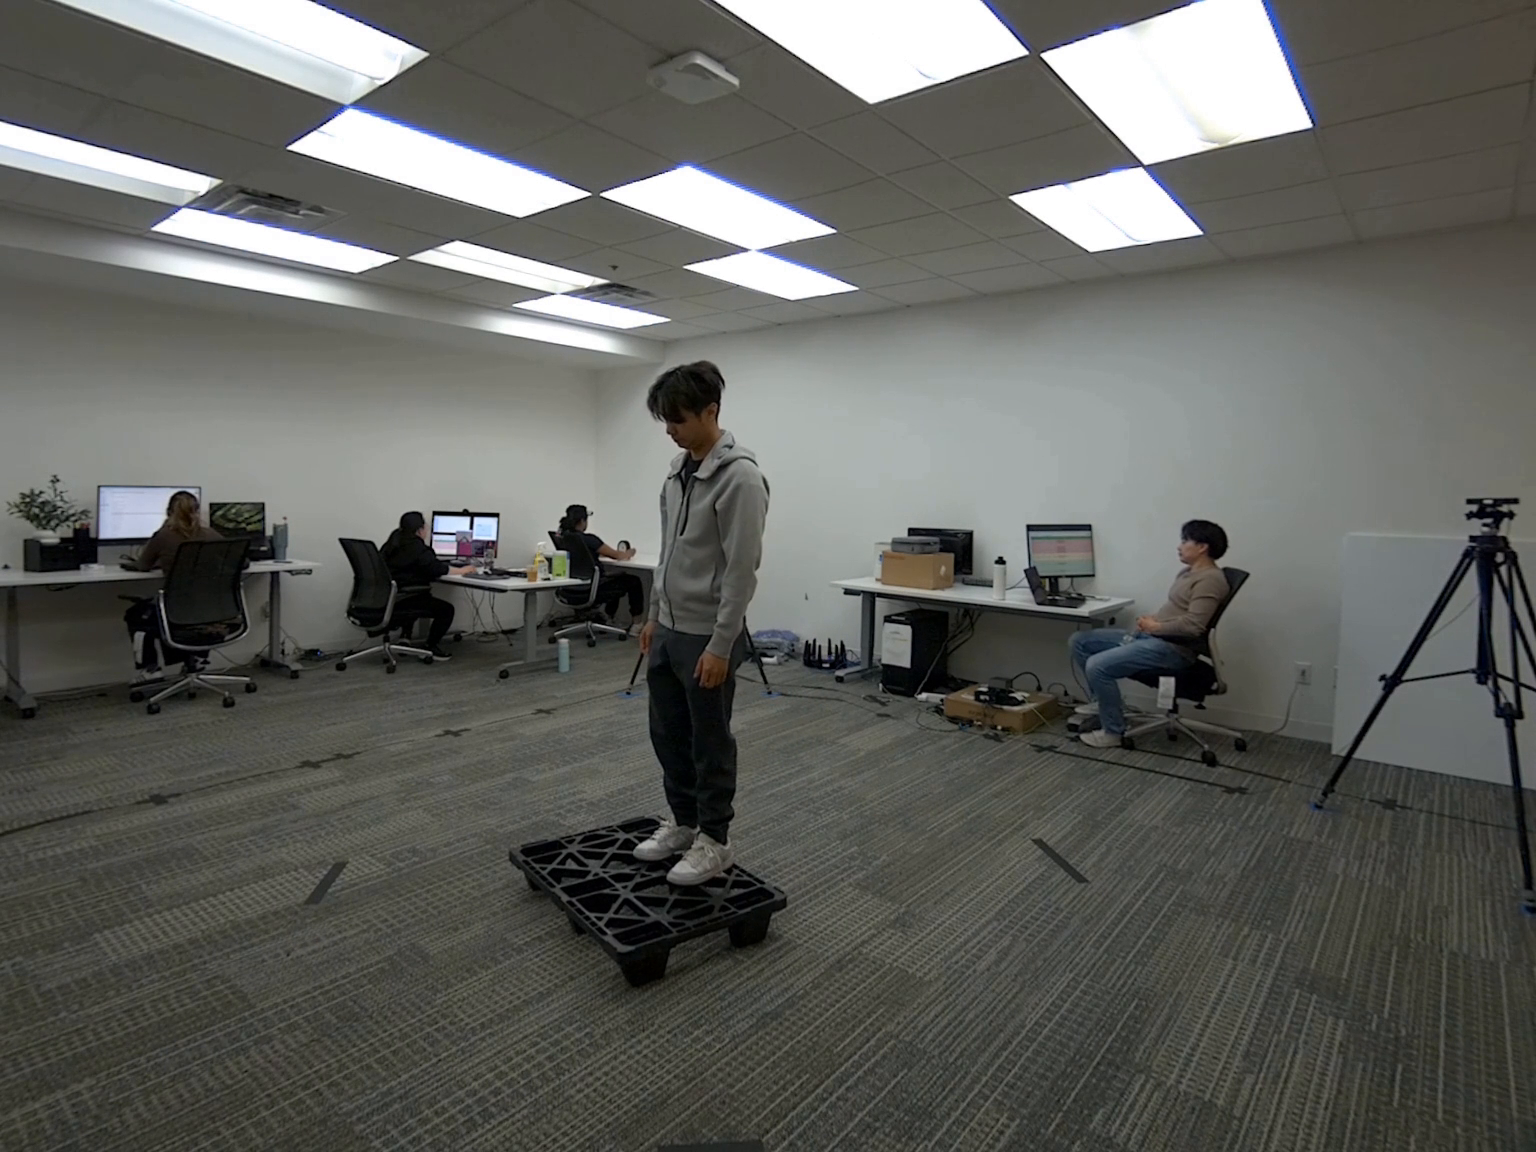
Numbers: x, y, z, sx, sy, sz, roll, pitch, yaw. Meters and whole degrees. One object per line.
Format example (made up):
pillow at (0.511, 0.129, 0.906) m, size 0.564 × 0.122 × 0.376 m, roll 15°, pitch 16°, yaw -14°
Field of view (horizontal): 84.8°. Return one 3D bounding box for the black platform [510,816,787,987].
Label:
black platform at (-0.424, 1.027, 2.790) m, size 0.587 × 0.143 × 0.833 m, roll -2°, pitch 7°, yaw -37°
